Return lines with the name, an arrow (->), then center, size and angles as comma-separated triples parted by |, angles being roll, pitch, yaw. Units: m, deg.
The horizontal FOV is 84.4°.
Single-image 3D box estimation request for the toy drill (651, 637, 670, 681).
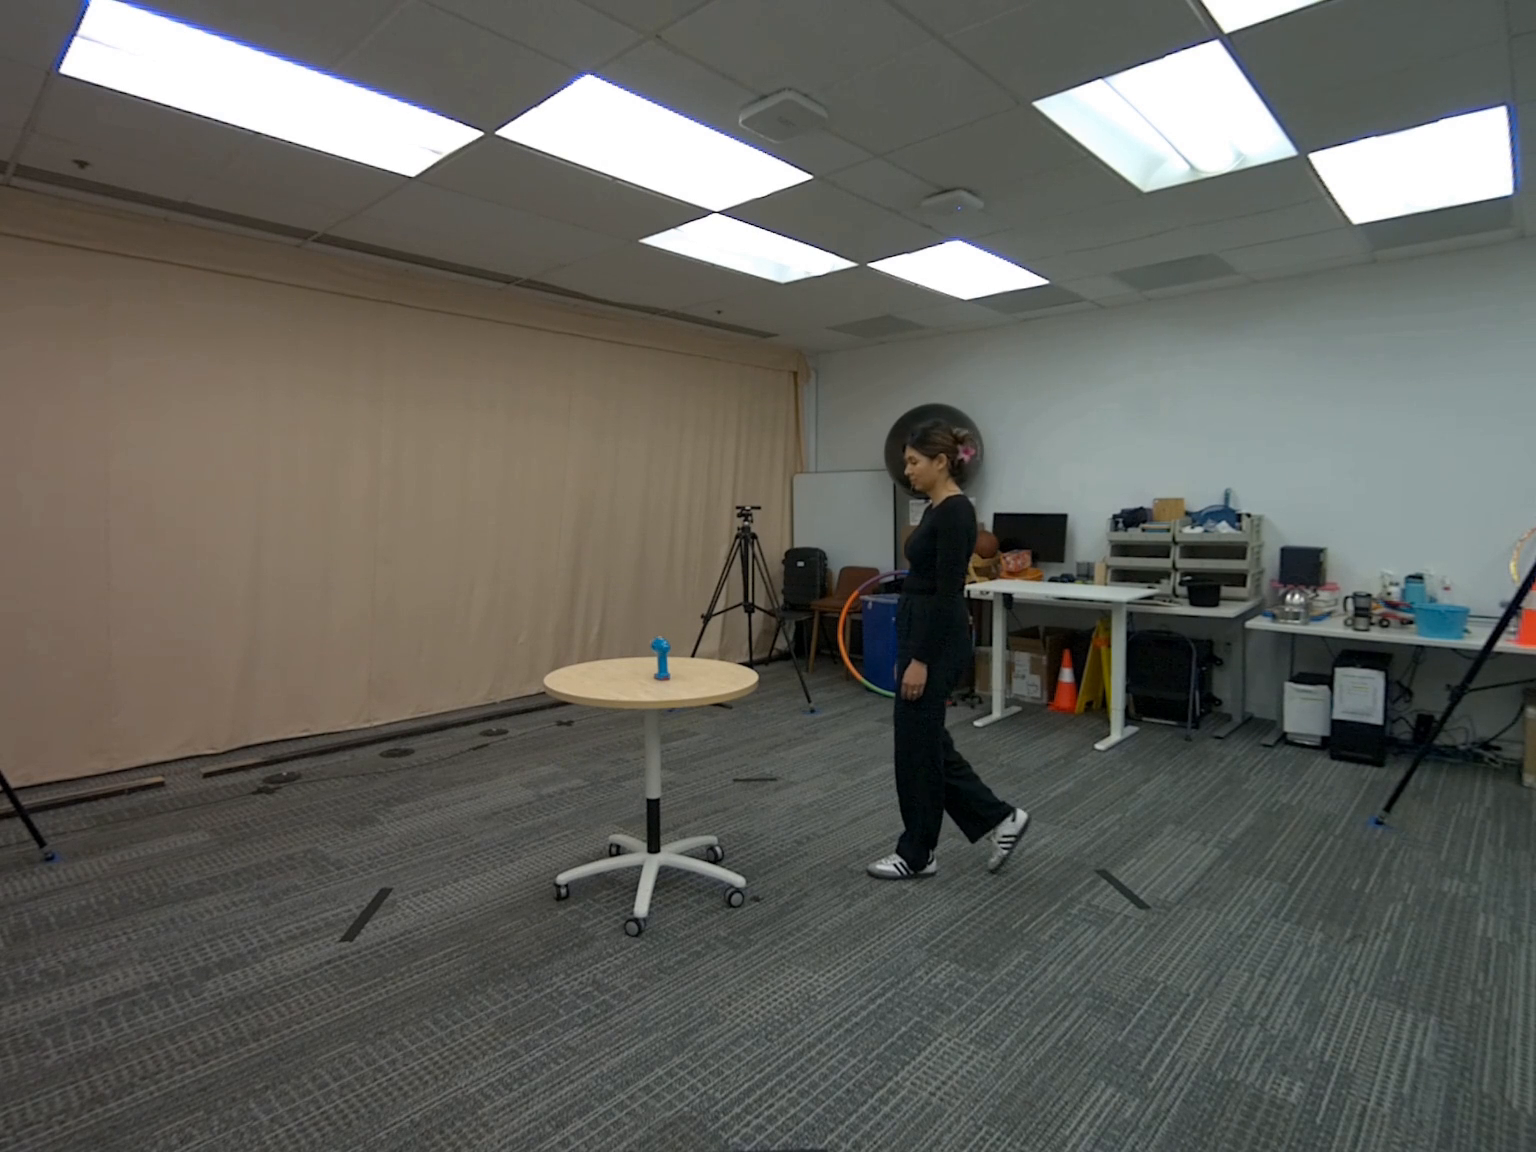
toy drill -> -0.392, 0.291, 3.019 | 0.060, 0.146, 0.174 | 0, 3, -25
